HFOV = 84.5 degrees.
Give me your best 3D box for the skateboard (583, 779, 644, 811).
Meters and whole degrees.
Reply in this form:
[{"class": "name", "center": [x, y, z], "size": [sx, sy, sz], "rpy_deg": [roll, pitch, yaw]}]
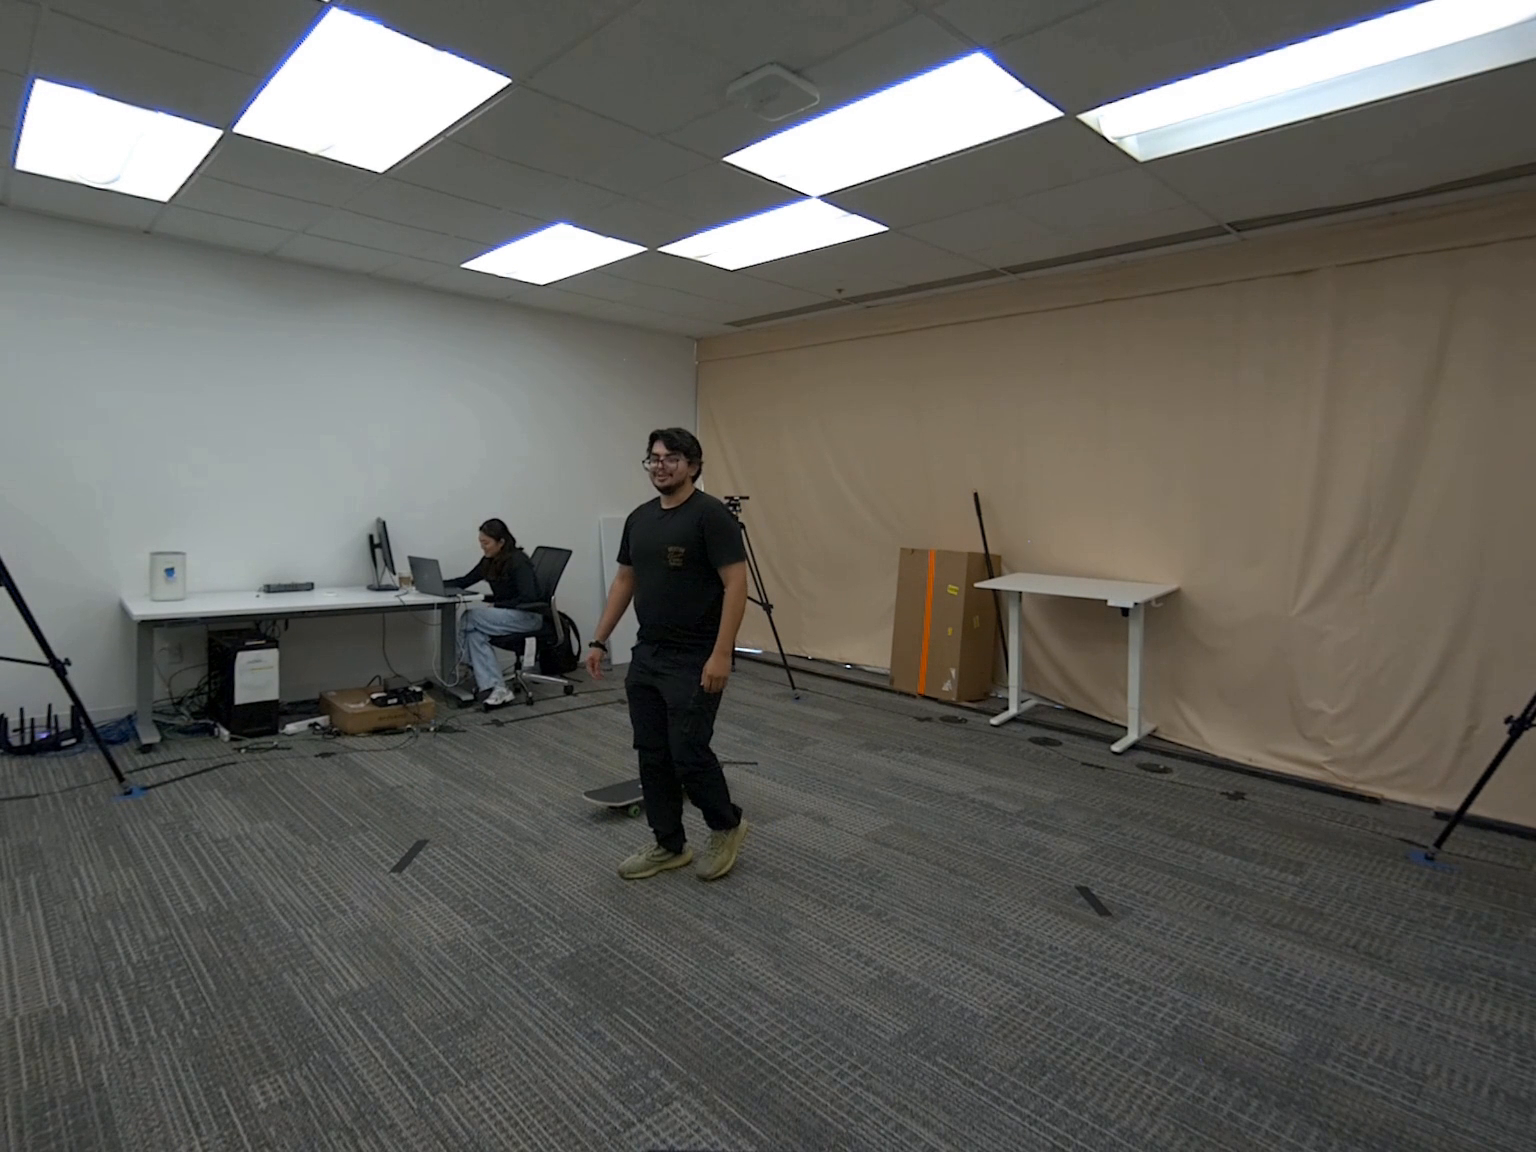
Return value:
[{"class": "skateboard", "center": [-0.518, 0.977, 3.849], "size": [0.198, 0.110, 0.767], "rpy_deg": [8, 7, 42]}]
